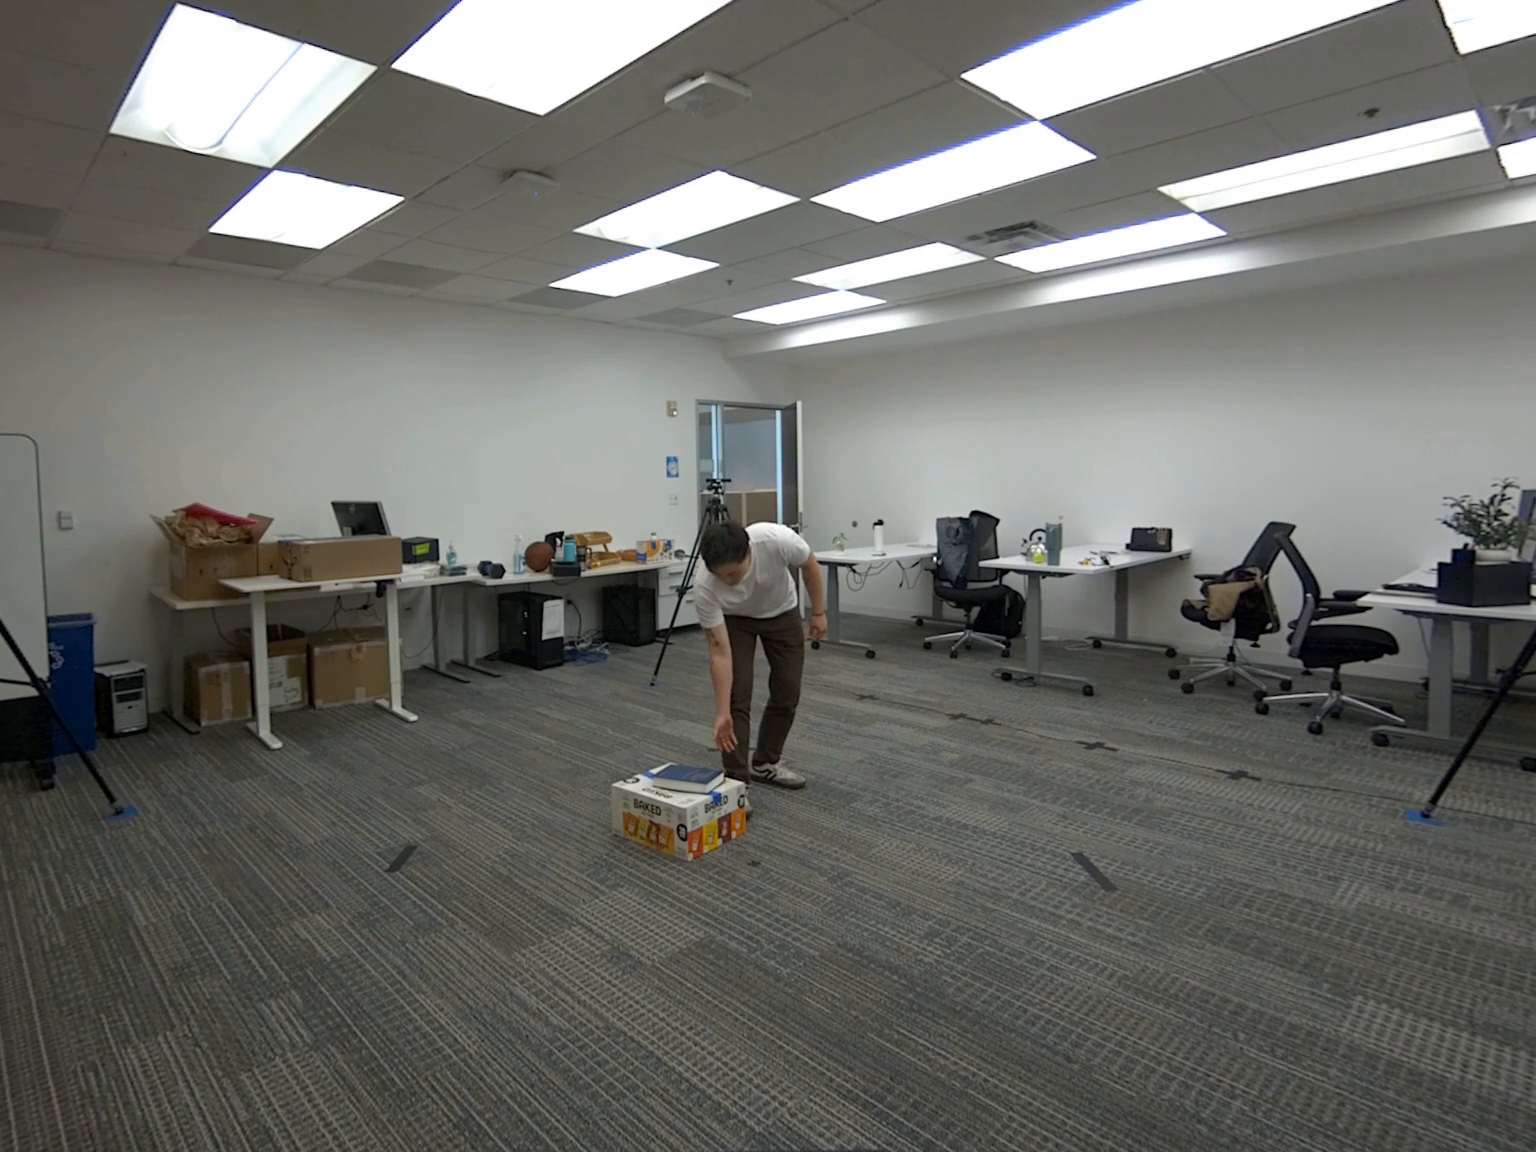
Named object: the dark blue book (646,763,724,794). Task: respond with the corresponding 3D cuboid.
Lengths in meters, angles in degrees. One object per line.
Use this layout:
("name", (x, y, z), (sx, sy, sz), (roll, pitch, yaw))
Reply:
("dark blue book", (-0.319, 0.803, 3.385), (0.250, 0.045, 0.160), (1, 7, 24))
